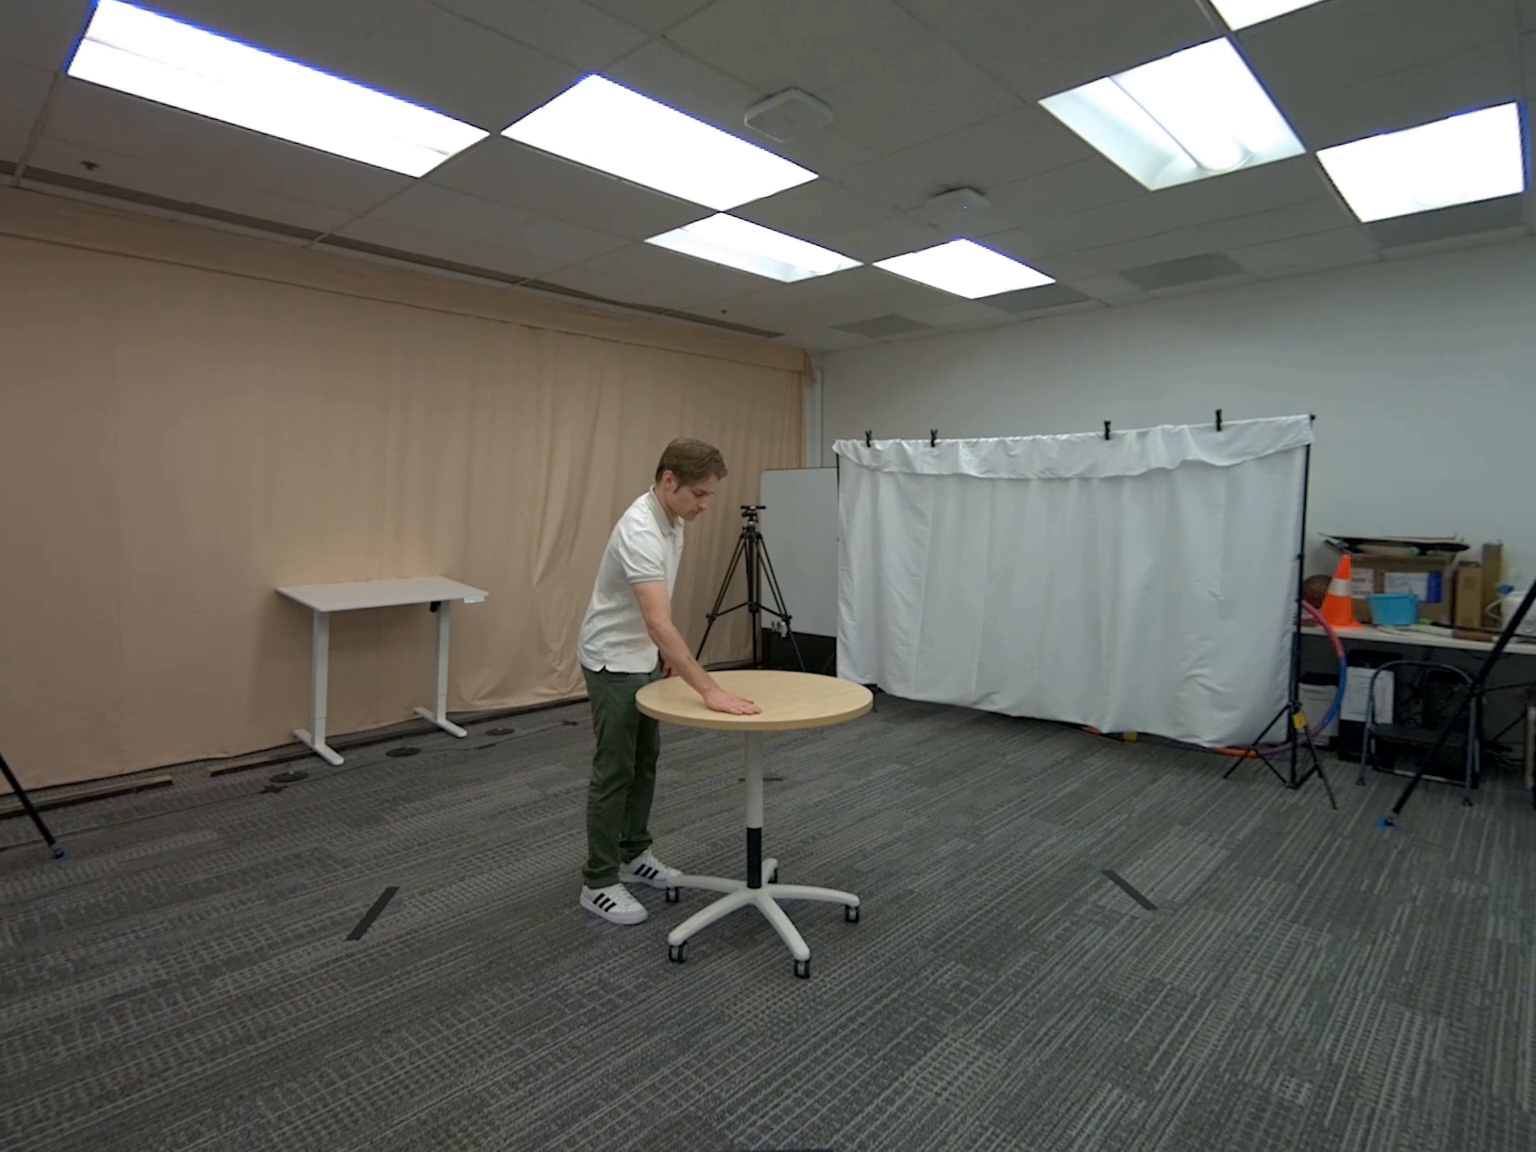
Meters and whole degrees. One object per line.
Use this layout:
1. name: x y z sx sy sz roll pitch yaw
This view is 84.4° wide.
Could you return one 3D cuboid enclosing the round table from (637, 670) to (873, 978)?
1. round table: -0.033 0.770 2.745 0.784 0.785 0.787 -1 3 -2
